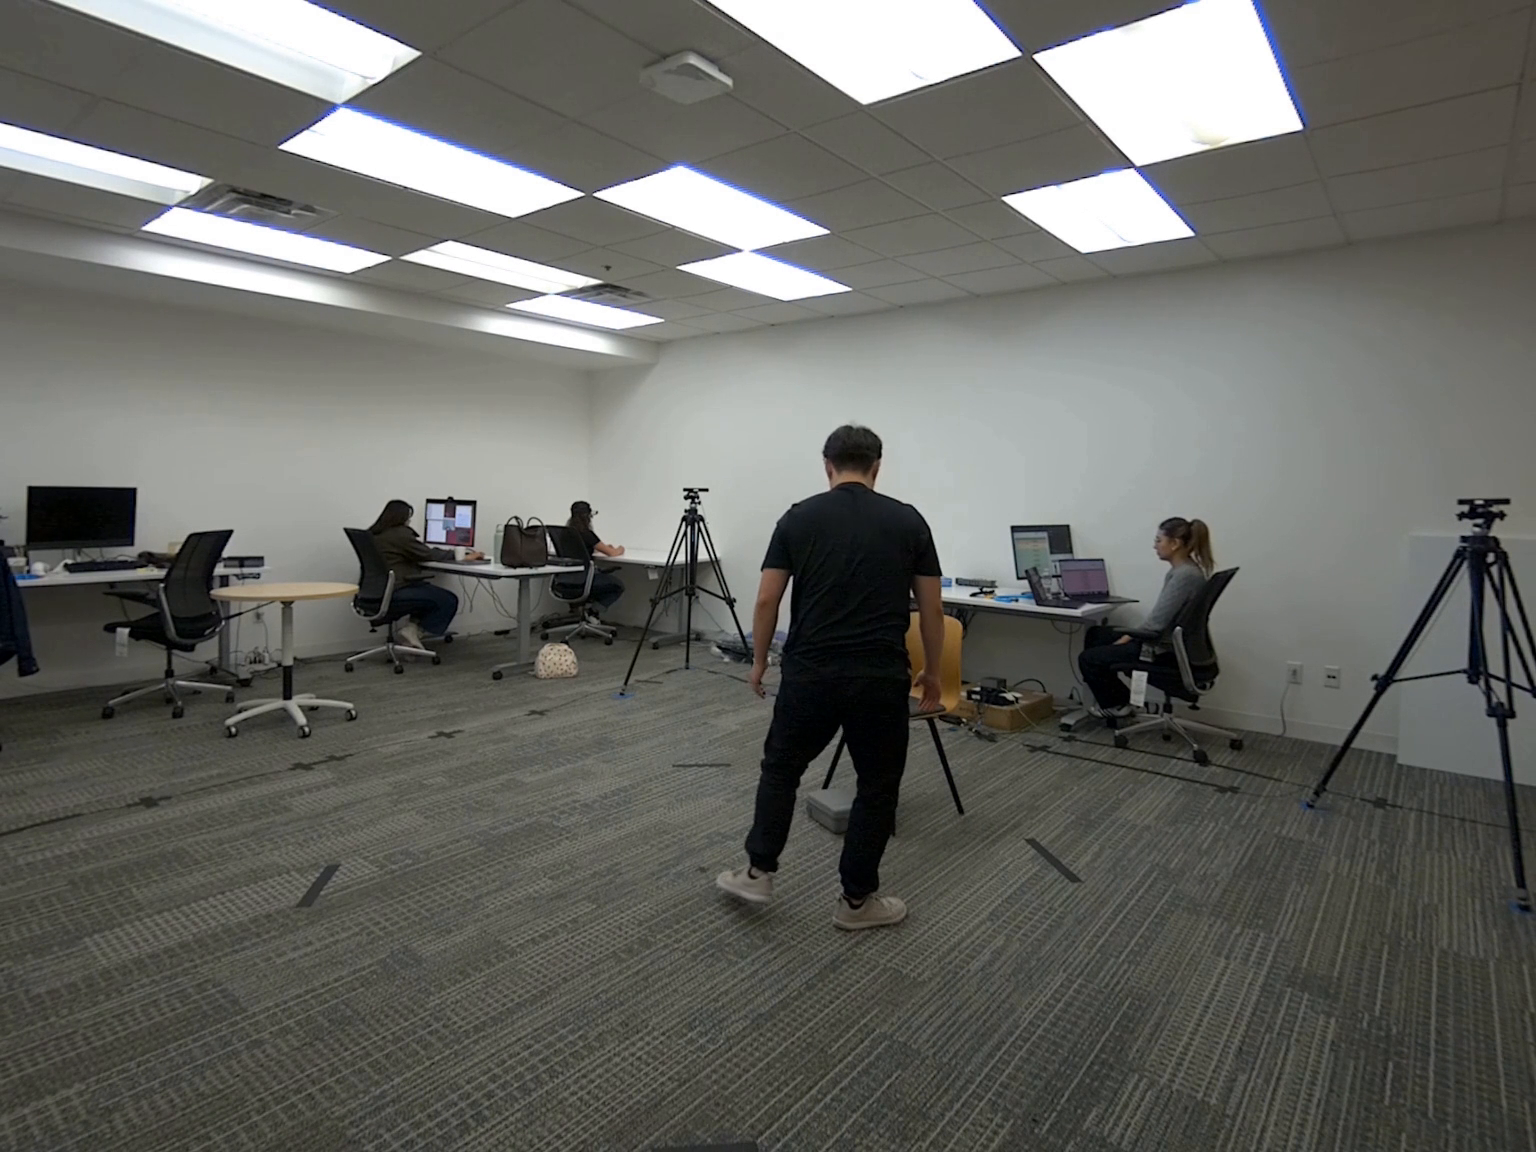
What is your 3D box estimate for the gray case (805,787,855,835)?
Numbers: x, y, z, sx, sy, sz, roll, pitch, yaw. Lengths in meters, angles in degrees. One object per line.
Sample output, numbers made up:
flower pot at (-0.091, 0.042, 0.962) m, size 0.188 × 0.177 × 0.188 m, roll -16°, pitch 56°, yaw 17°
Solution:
gray case at (0.312, 0.976, 3.598) m, size 0.251 × 0.104 × 0.267 m, roll -3°, pitch 5°, yaw -24°
